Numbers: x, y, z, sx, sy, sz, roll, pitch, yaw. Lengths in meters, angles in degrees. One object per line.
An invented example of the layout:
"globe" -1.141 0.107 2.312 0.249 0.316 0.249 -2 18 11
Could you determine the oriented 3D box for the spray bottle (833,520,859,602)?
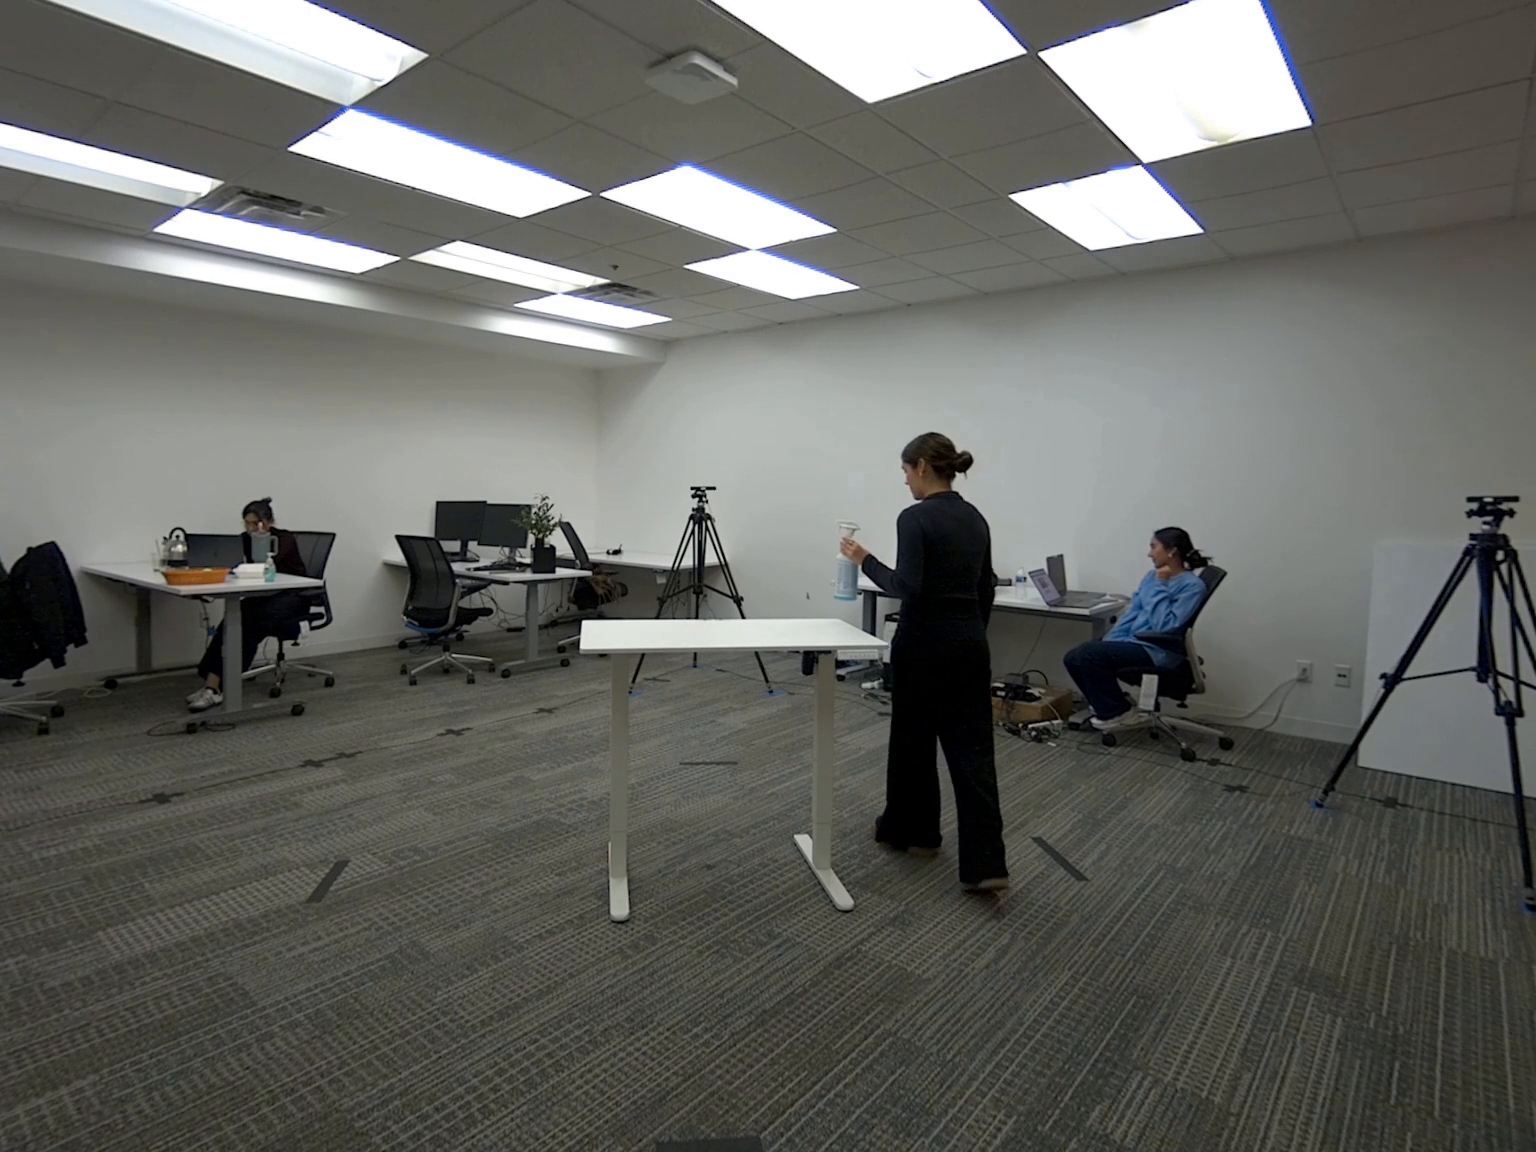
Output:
"spray bottle" 0.296 -0.063 3.190 0.092 0.296 0.085 4 3 25
